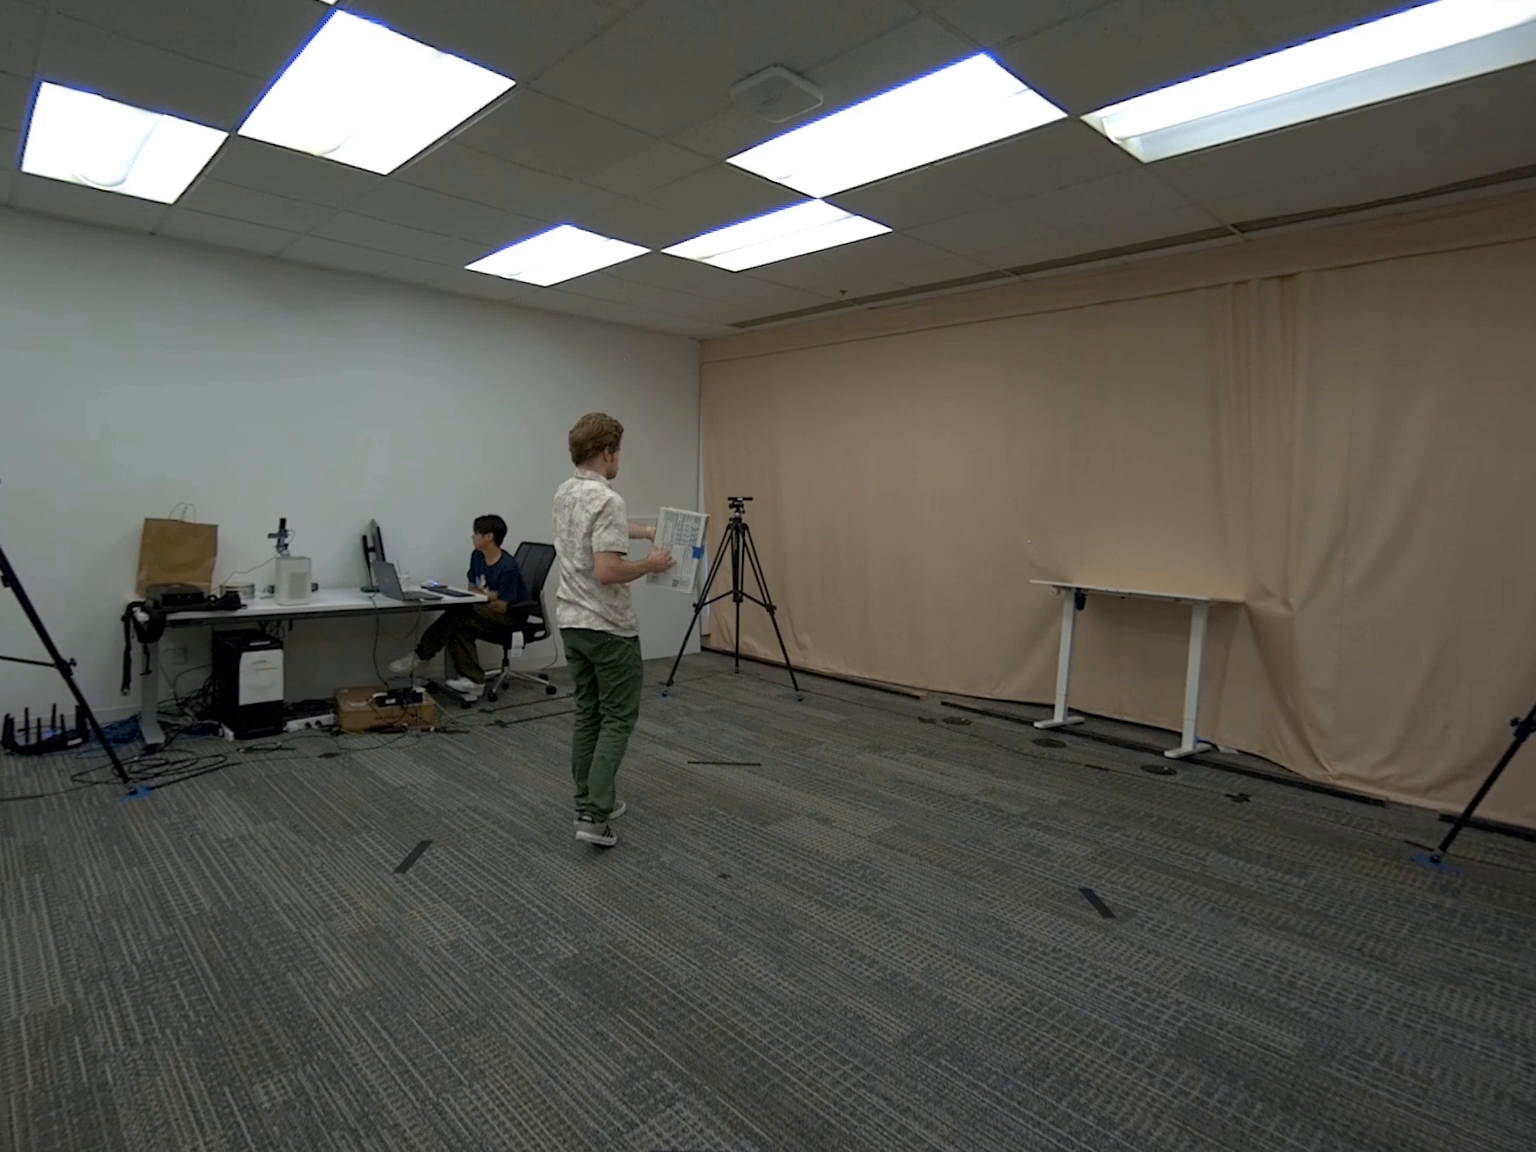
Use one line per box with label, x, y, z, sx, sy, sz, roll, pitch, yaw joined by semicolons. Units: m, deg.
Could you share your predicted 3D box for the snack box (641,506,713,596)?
snack box;-0.399;-0.122;3.762;0.206;0.340;0.405;11;3;1
